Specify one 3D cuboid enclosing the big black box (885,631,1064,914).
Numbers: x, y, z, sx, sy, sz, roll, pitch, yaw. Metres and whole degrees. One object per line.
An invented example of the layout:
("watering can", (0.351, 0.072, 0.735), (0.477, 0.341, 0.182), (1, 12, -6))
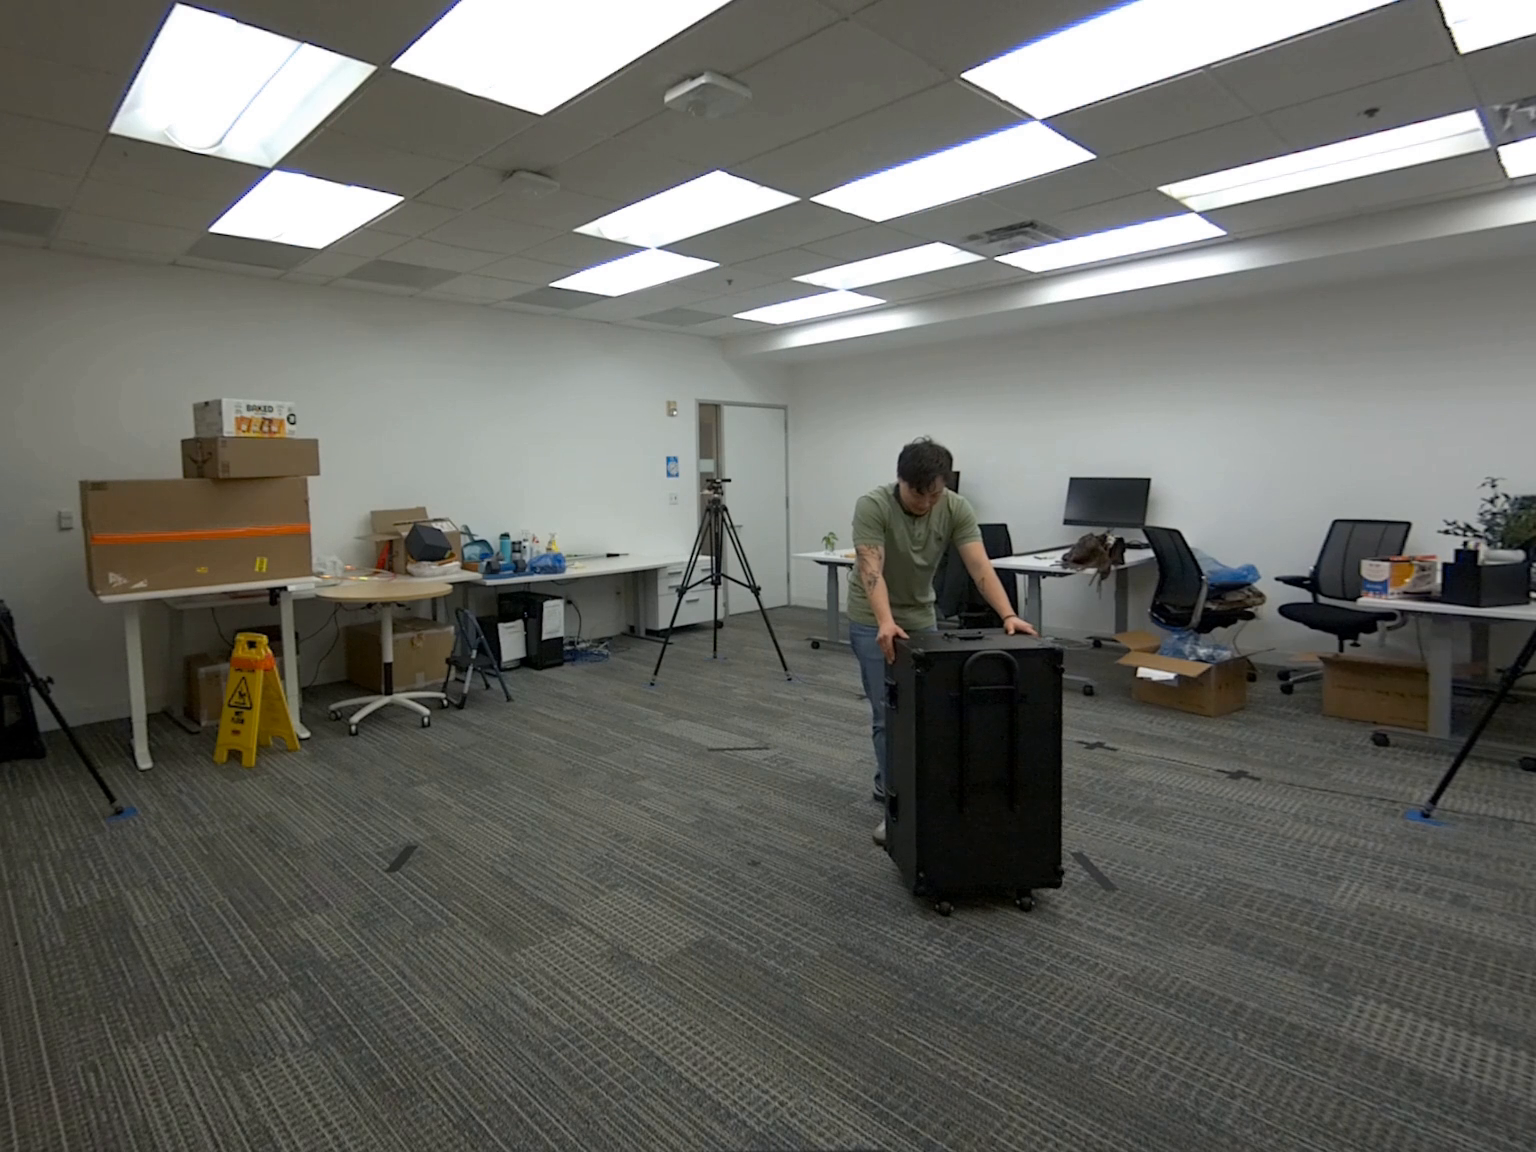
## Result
("big black box", (0.684, 0.639, 2.854), (0.518, 0.857, 0.401), (-1, 5, -7))
